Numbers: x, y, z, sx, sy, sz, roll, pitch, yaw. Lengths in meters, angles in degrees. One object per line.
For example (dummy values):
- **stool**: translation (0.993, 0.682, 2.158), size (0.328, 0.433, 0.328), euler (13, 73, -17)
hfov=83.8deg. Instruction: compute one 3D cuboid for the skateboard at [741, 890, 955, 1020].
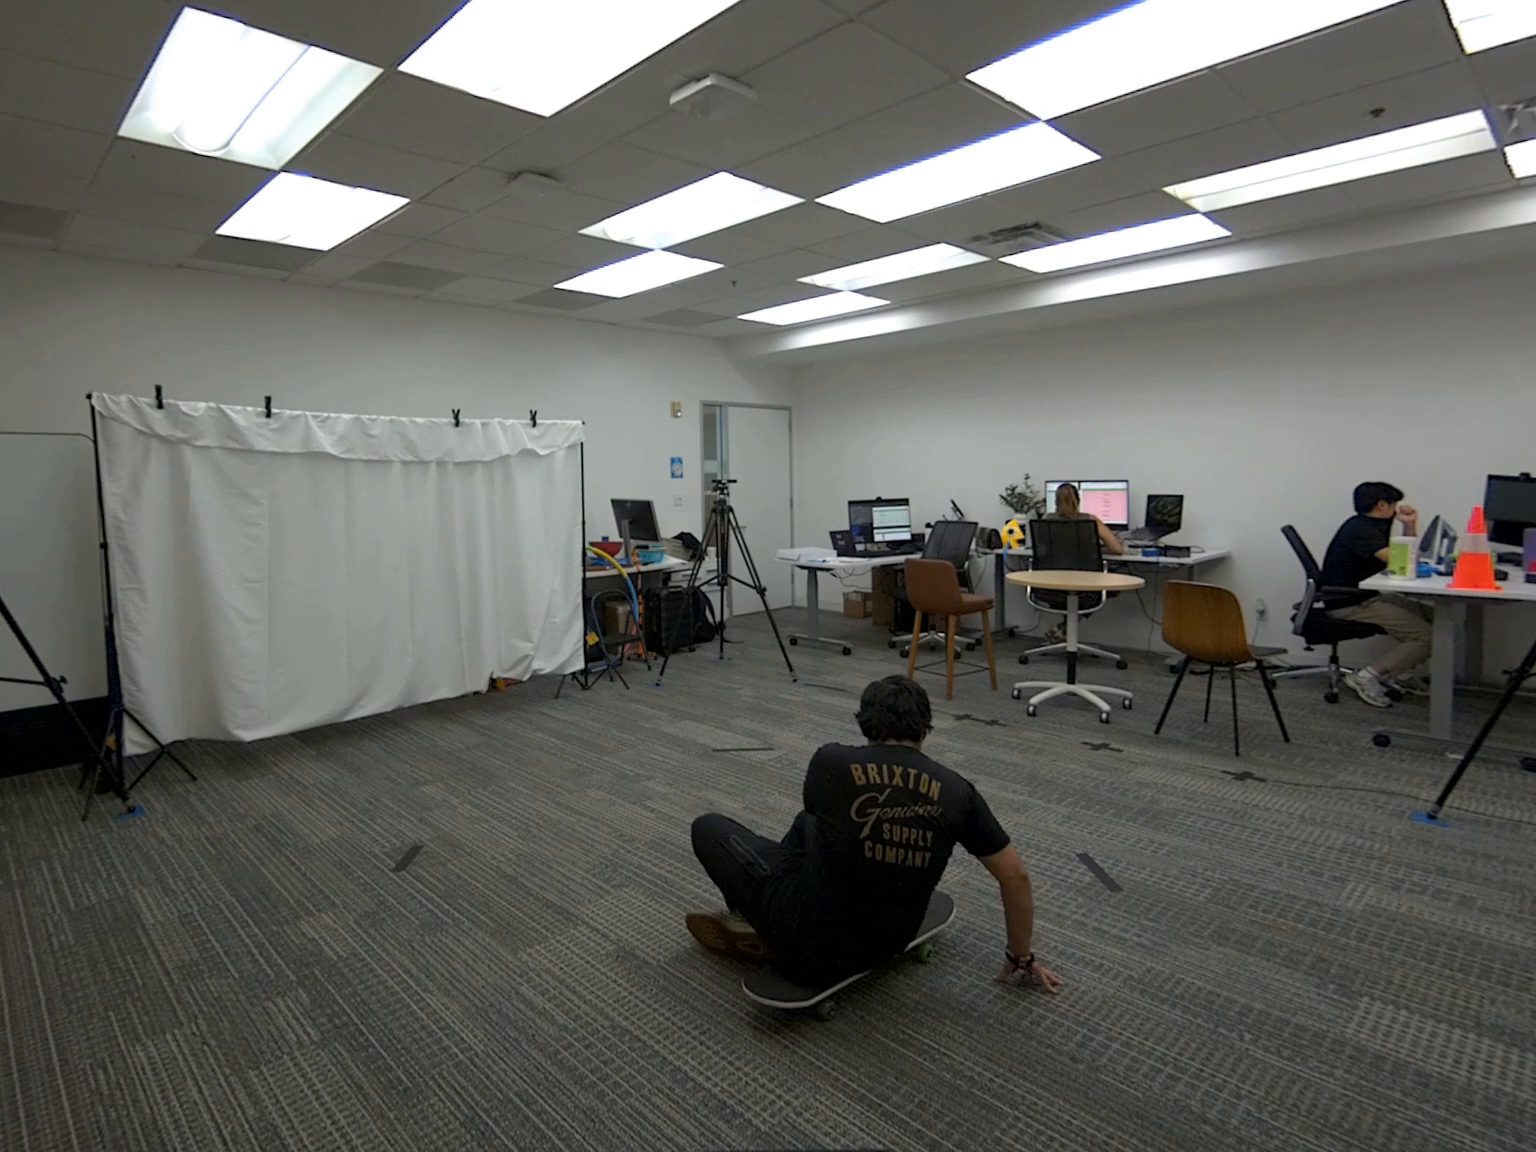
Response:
- **skateboard**: translation (0.247, 1.061, 2.406), size (0.766, 0.110, 0.199), euler (-6, 6, -36)
